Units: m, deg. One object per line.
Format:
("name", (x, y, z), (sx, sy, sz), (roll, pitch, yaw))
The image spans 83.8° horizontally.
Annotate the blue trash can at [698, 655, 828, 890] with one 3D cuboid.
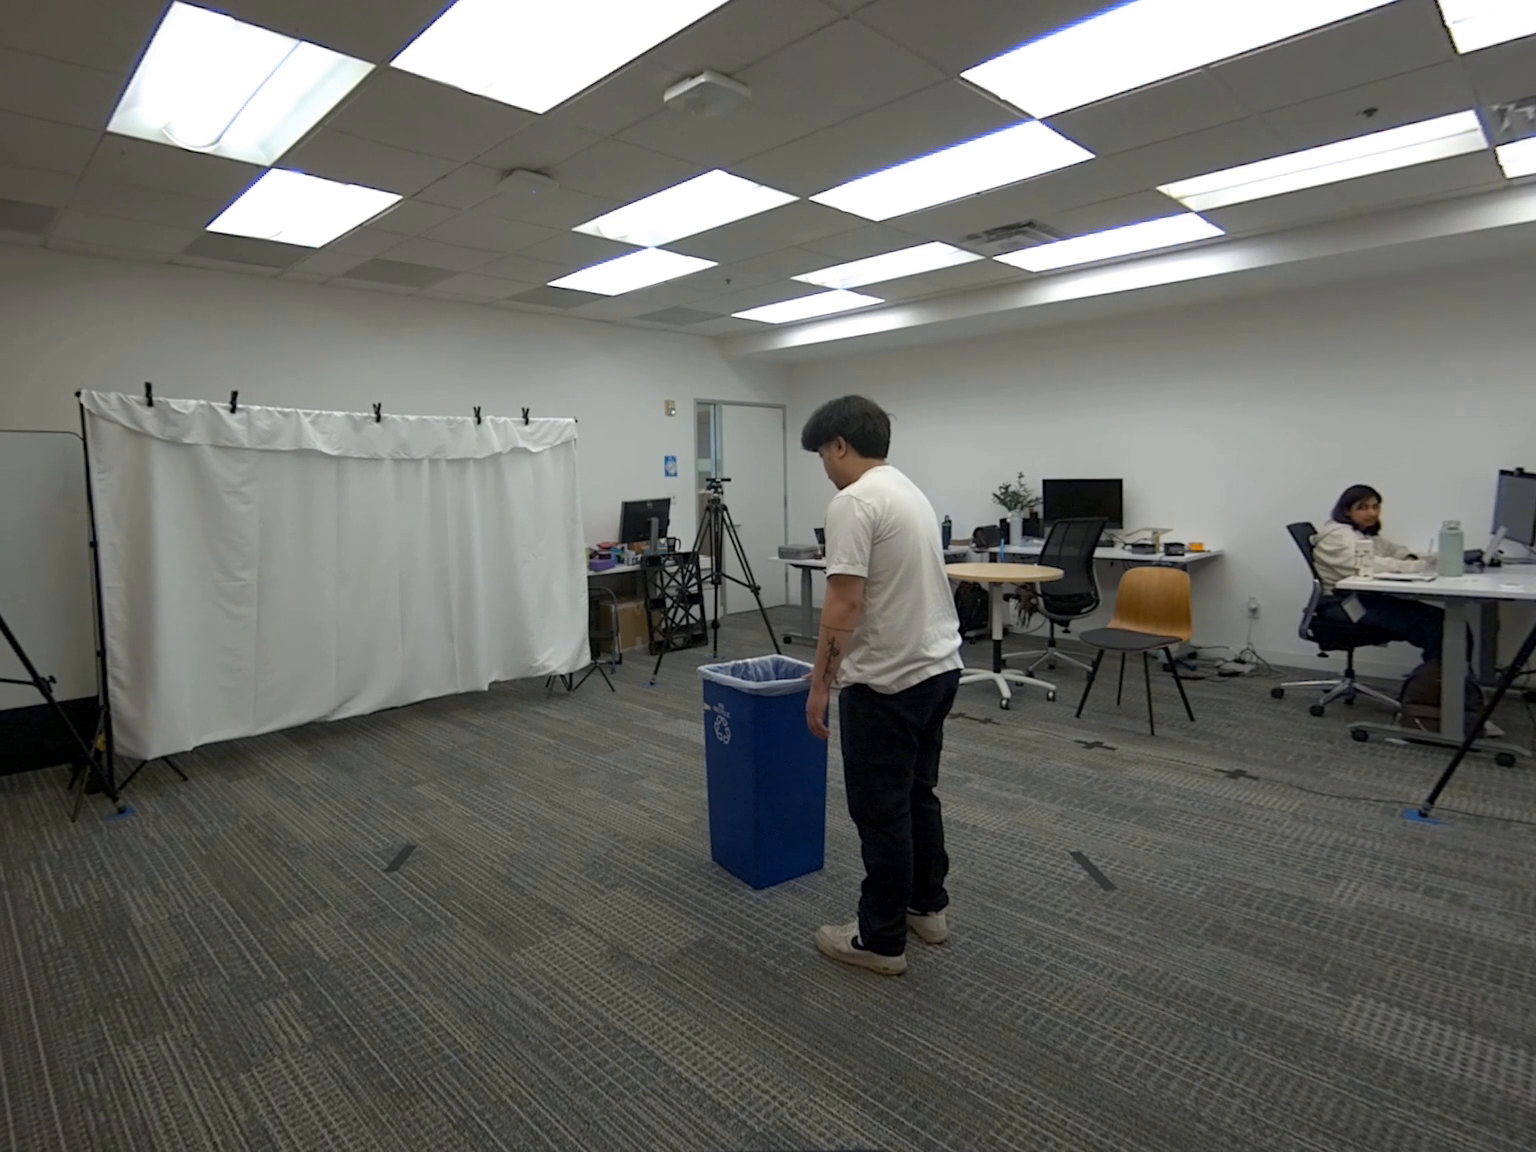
("blue trash can", (0.000, 0.688, 3.069), (0.368, 0.711, 0.385), (-4, 5, -35))
